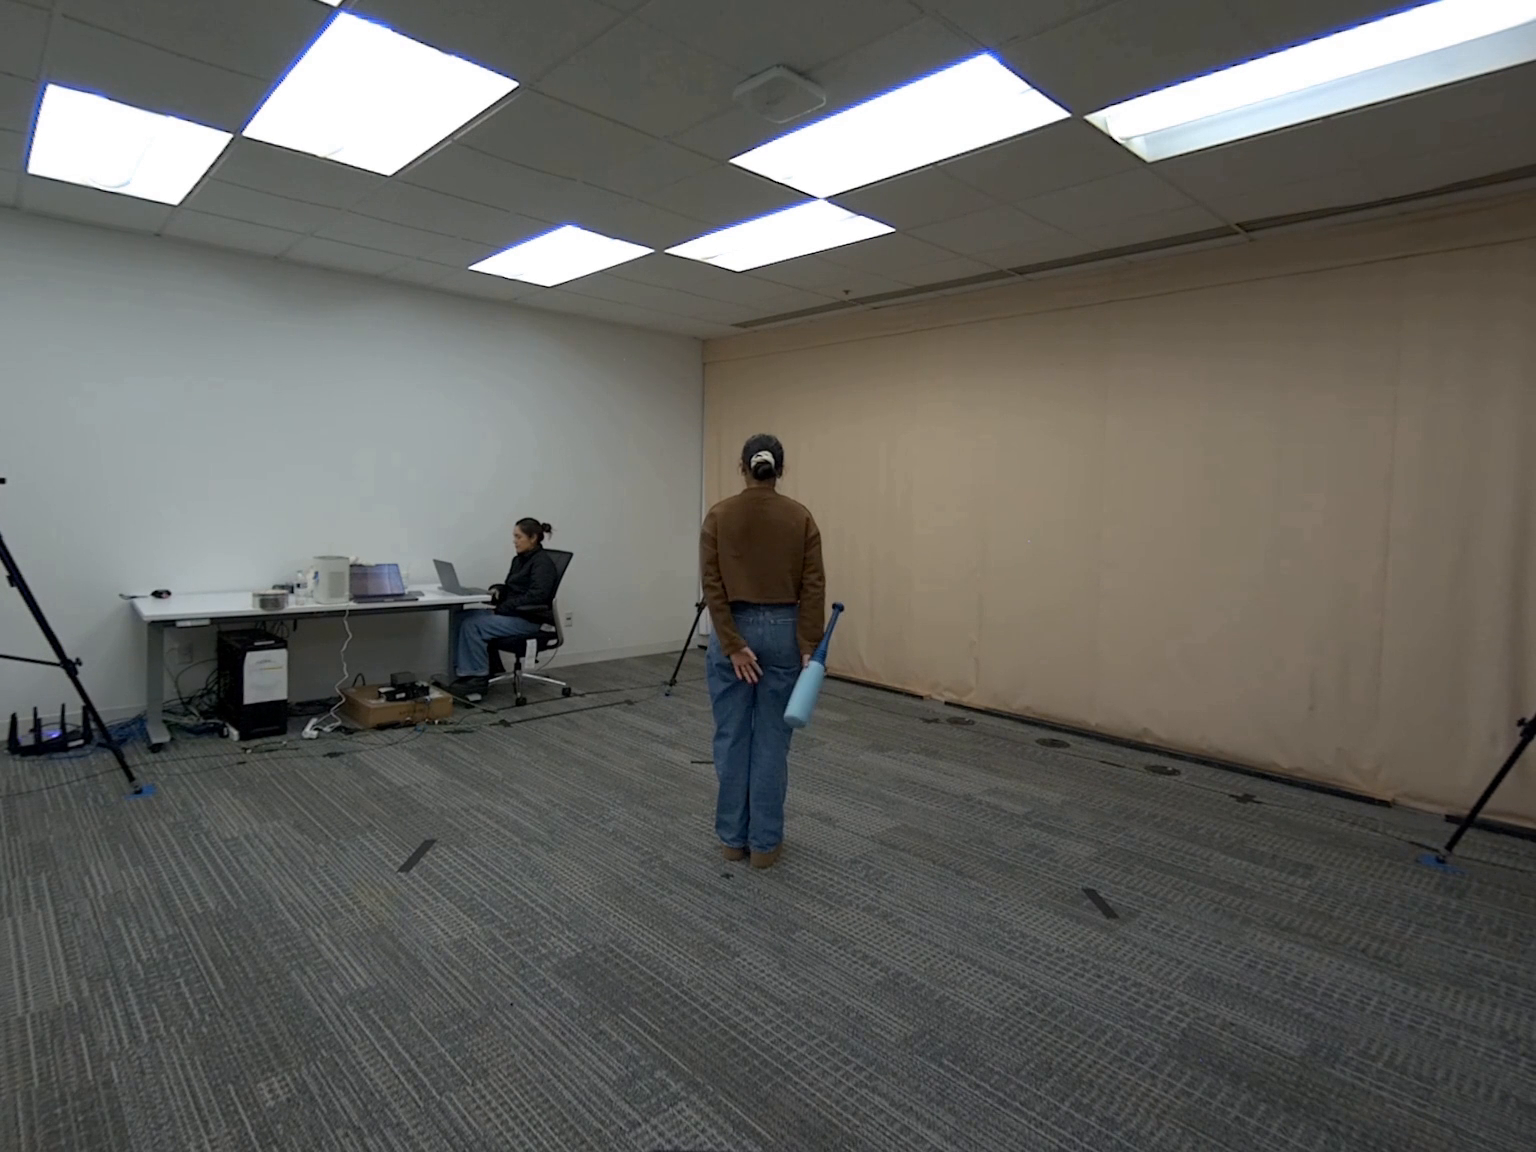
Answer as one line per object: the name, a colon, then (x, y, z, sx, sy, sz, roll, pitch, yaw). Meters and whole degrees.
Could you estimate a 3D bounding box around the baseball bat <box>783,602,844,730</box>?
baseball bat: (0.174, 0.322, 3.120, 0.091, 0.086, 0.547, 3, 48, 28)
